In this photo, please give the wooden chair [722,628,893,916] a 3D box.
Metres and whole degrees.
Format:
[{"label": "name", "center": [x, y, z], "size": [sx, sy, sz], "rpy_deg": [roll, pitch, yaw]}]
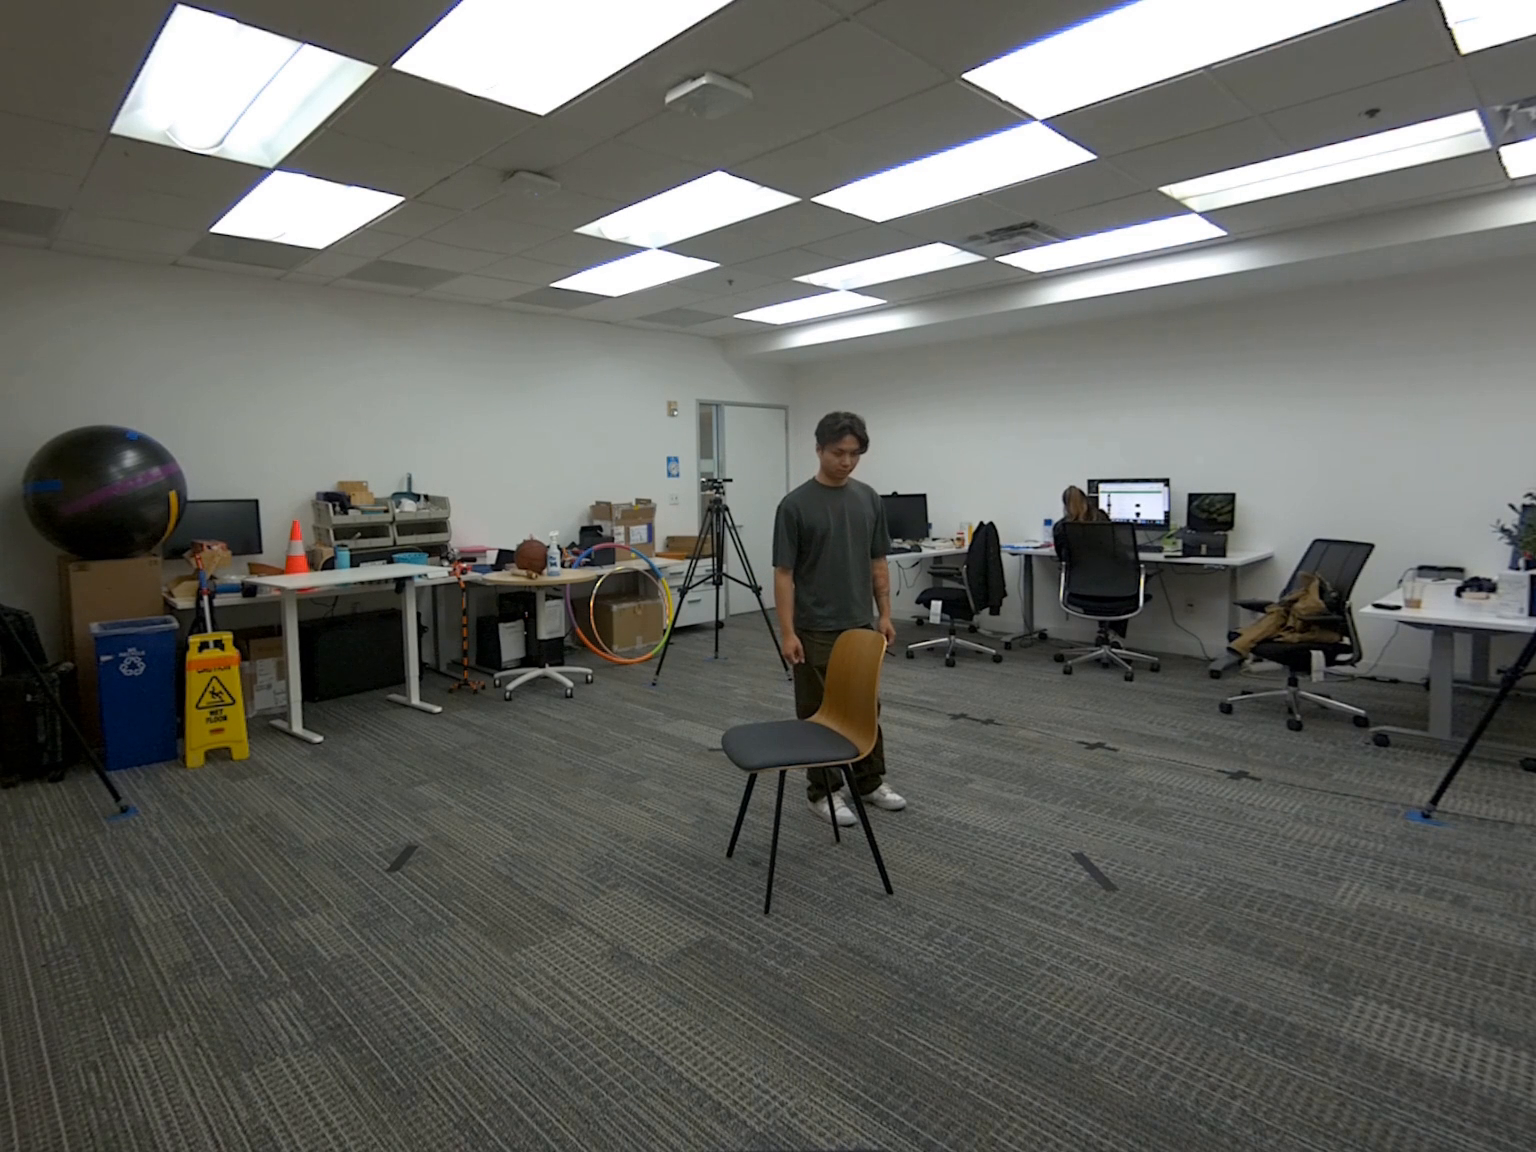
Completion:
[{"label": "wooden chair", "center": [0.122, 0.631, 2.973], "size": [0.514, 0.875, 0.487], "rpy_deg": [2, 3, -18]}]
